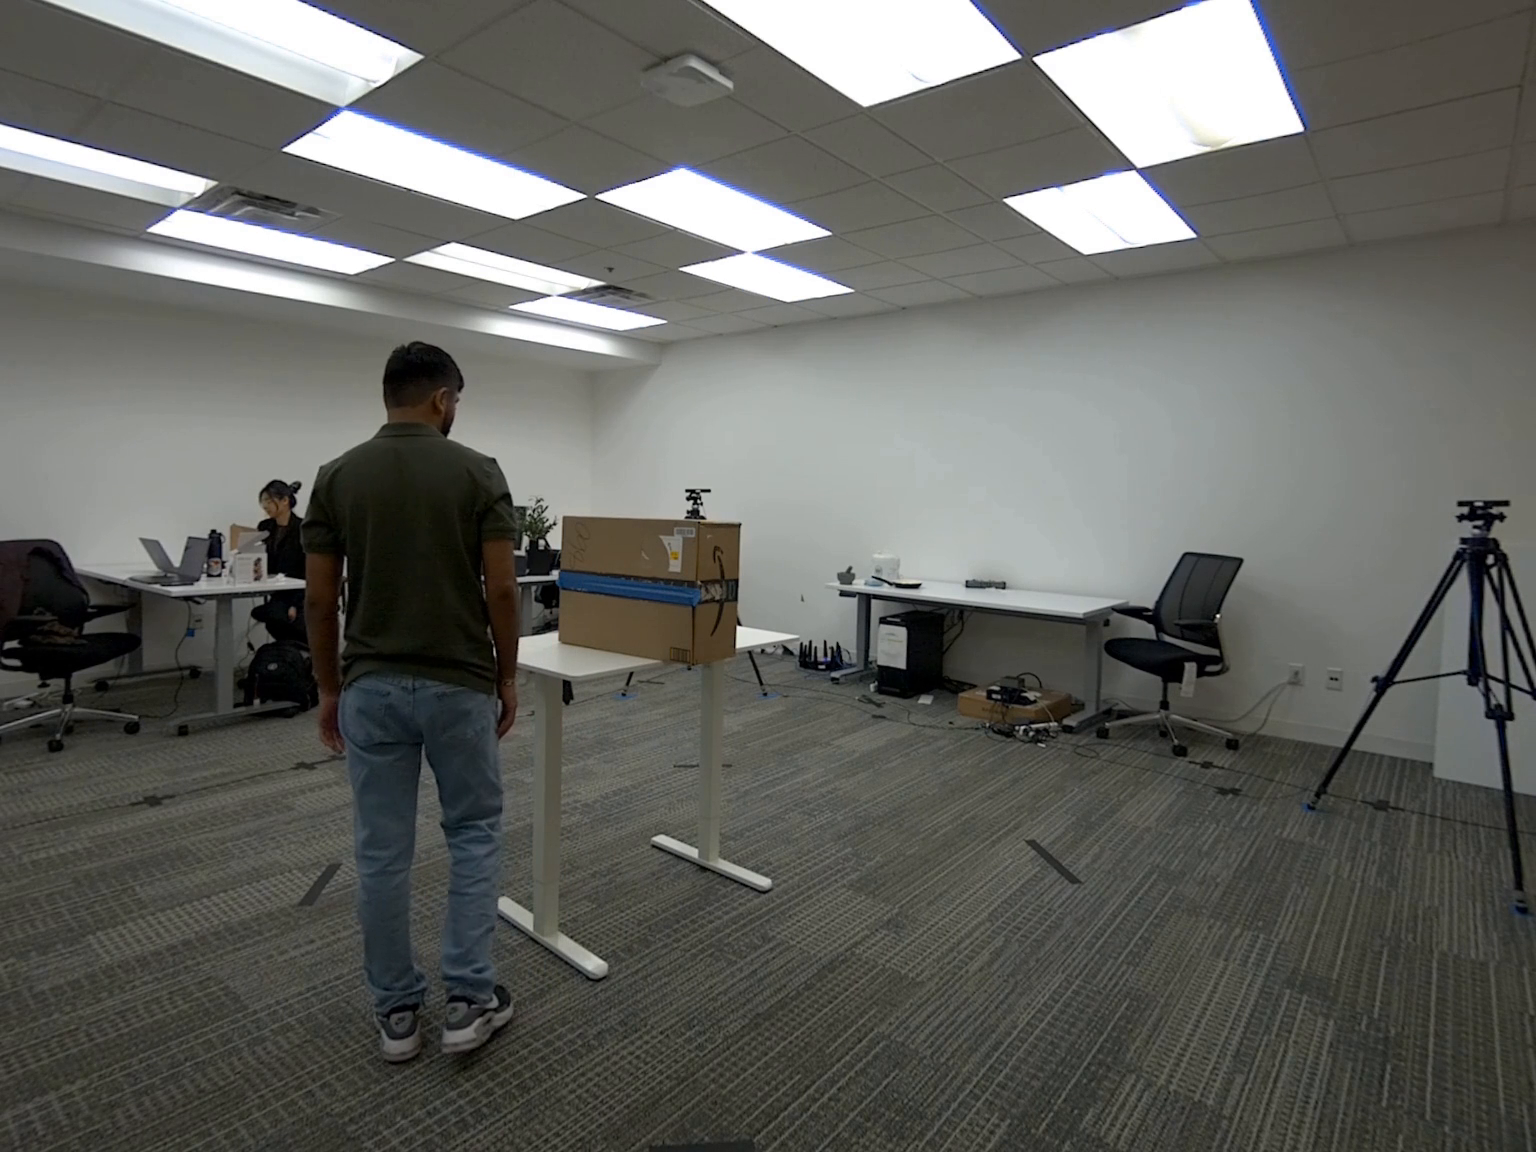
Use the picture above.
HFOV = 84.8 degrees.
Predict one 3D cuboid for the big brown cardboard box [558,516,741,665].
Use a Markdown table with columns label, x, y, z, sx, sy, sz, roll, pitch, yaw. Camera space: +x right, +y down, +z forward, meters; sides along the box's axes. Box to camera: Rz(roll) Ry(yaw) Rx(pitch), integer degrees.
| label | x | y | z | sx | sy | sz | roll | pitch | yaw |
| --- | --- | --- | --- | --- | --- | --- | --- | --- | --- |
| big brown cardboard box | -0.389 | 0.026 | 2.673 | 0.608 | 0.417 | 0.226 | 4 | 3 | 36 |
